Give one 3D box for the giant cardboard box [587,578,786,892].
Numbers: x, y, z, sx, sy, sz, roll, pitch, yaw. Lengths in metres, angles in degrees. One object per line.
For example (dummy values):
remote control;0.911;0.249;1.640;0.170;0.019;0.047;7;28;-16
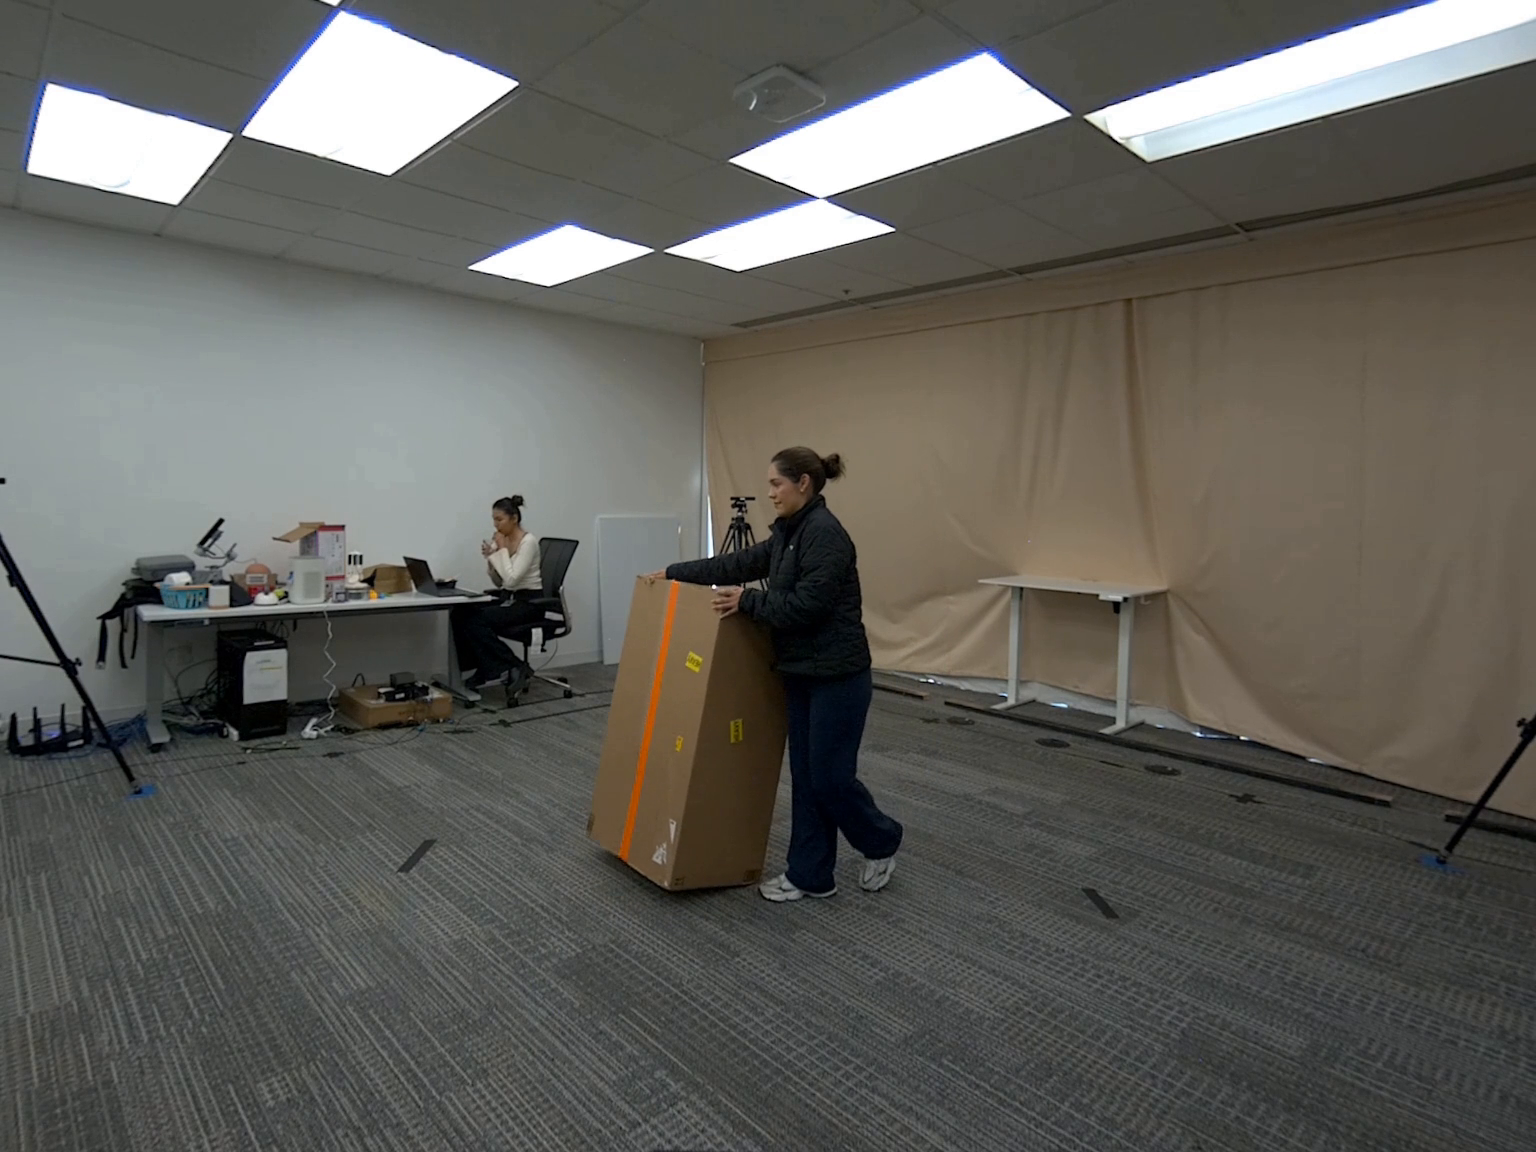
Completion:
giant cardboard box;-0.283;0.560;3.179;0.414;1.028;0.592;14;-5;-40
